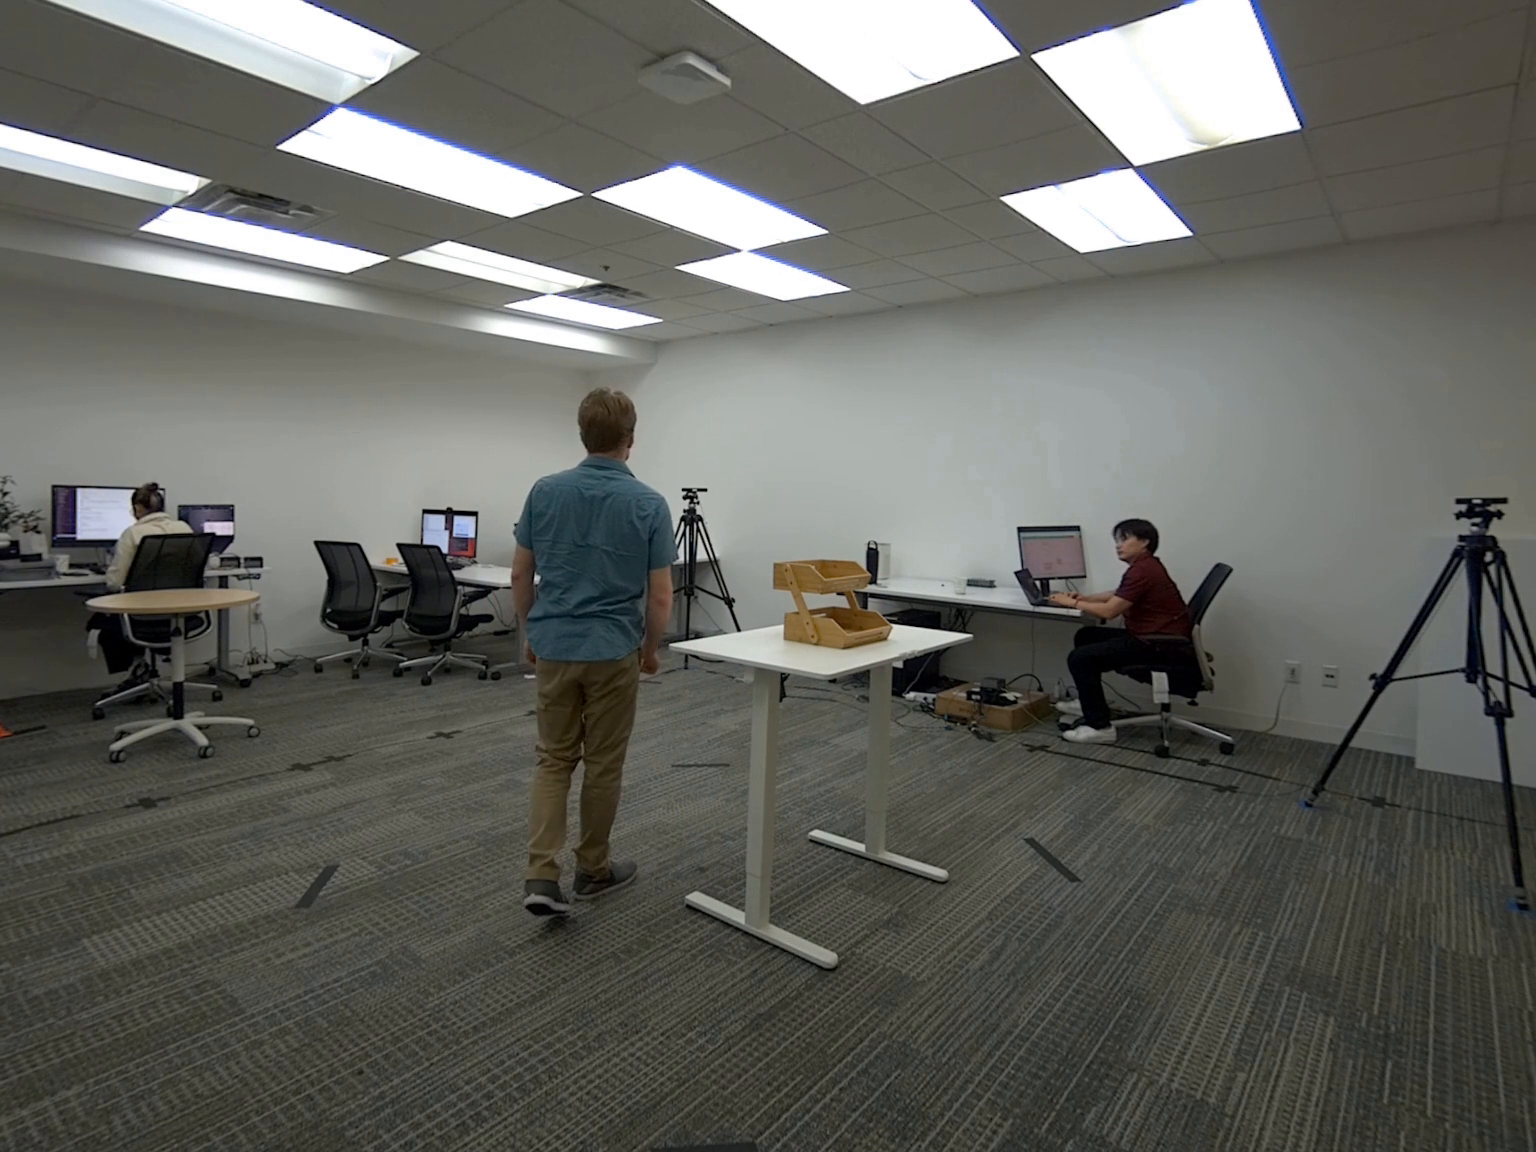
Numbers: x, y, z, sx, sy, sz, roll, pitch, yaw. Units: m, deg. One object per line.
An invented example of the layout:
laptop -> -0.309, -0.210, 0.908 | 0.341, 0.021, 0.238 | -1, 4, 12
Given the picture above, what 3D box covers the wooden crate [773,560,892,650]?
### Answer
wooden crate -> 0.222, 0.084, 2.918 | 0.312, 0.272, 0.315 | 4, 5, 38
